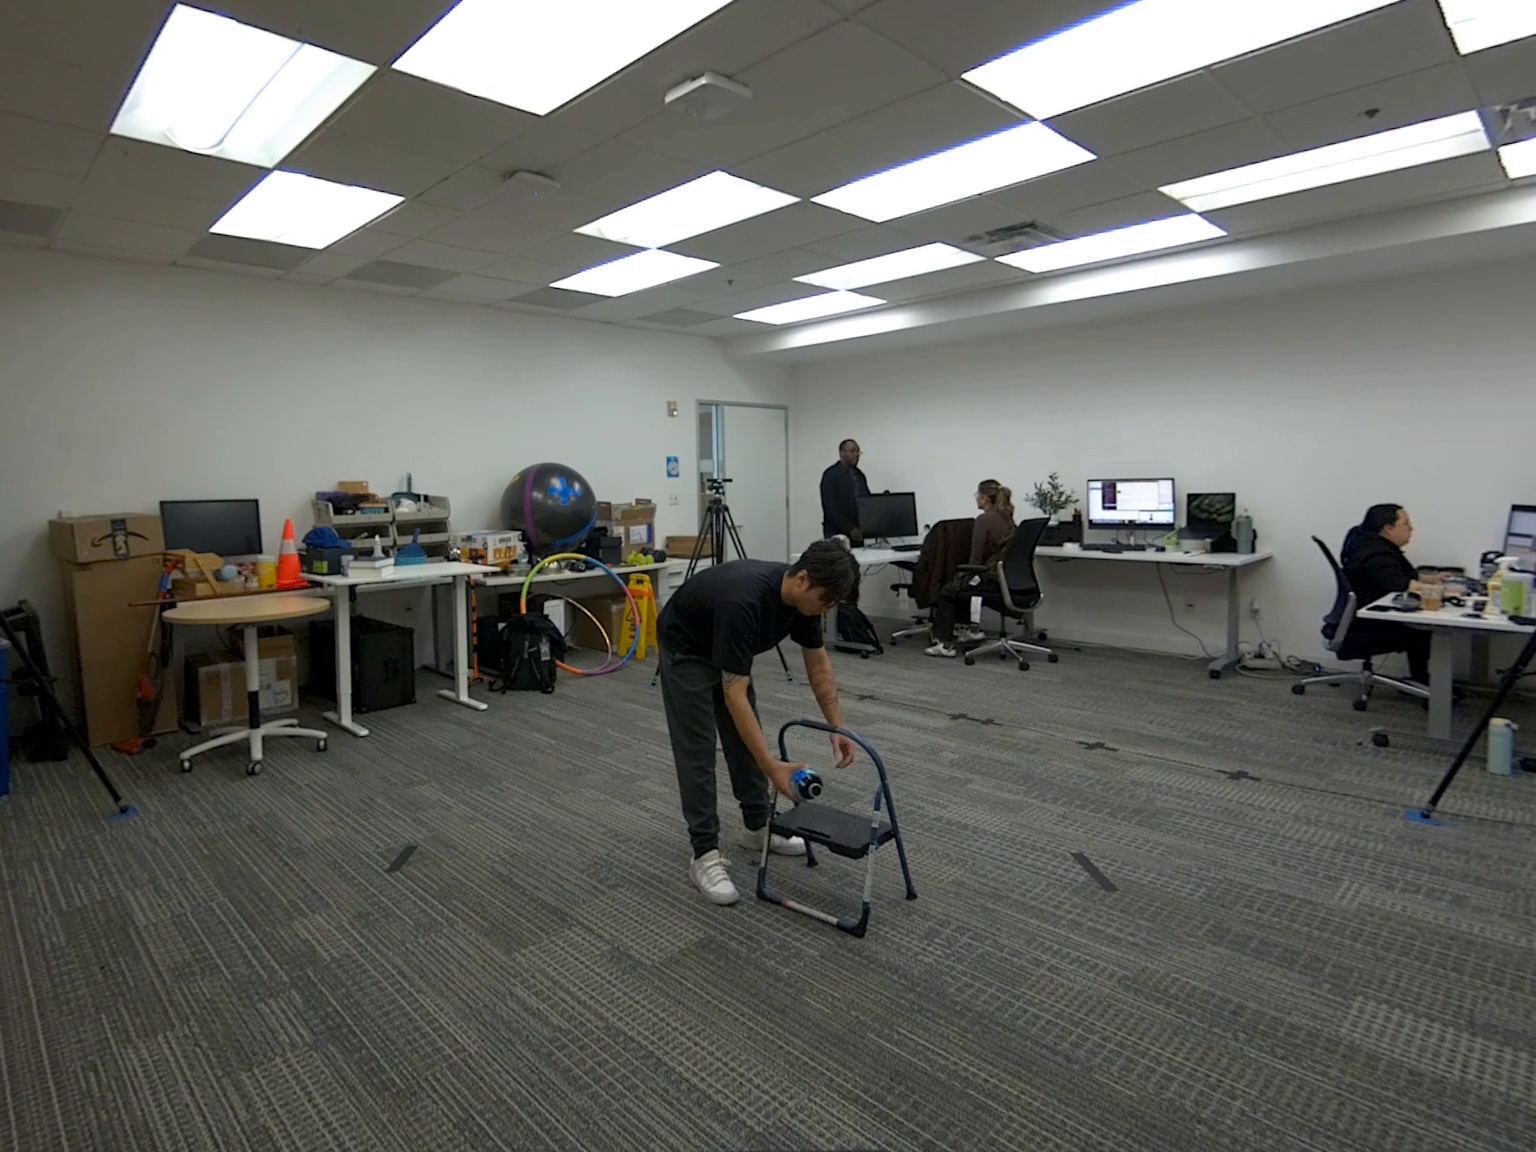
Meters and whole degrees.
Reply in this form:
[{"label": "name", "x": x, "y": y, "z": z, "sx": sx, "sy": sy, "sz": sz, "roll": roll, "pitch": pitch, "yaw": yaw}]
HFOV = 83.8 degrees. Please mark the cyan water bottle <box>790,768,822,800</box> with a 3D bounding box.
[{"label": "cyan water bottle", "x": 0.099, "y": 0.647, "z": 2.692, "sx": 0.091, "sy": 0.093, "sz": 0.283, "roll": -2, "pitch": -7, "yaw": -11}]
